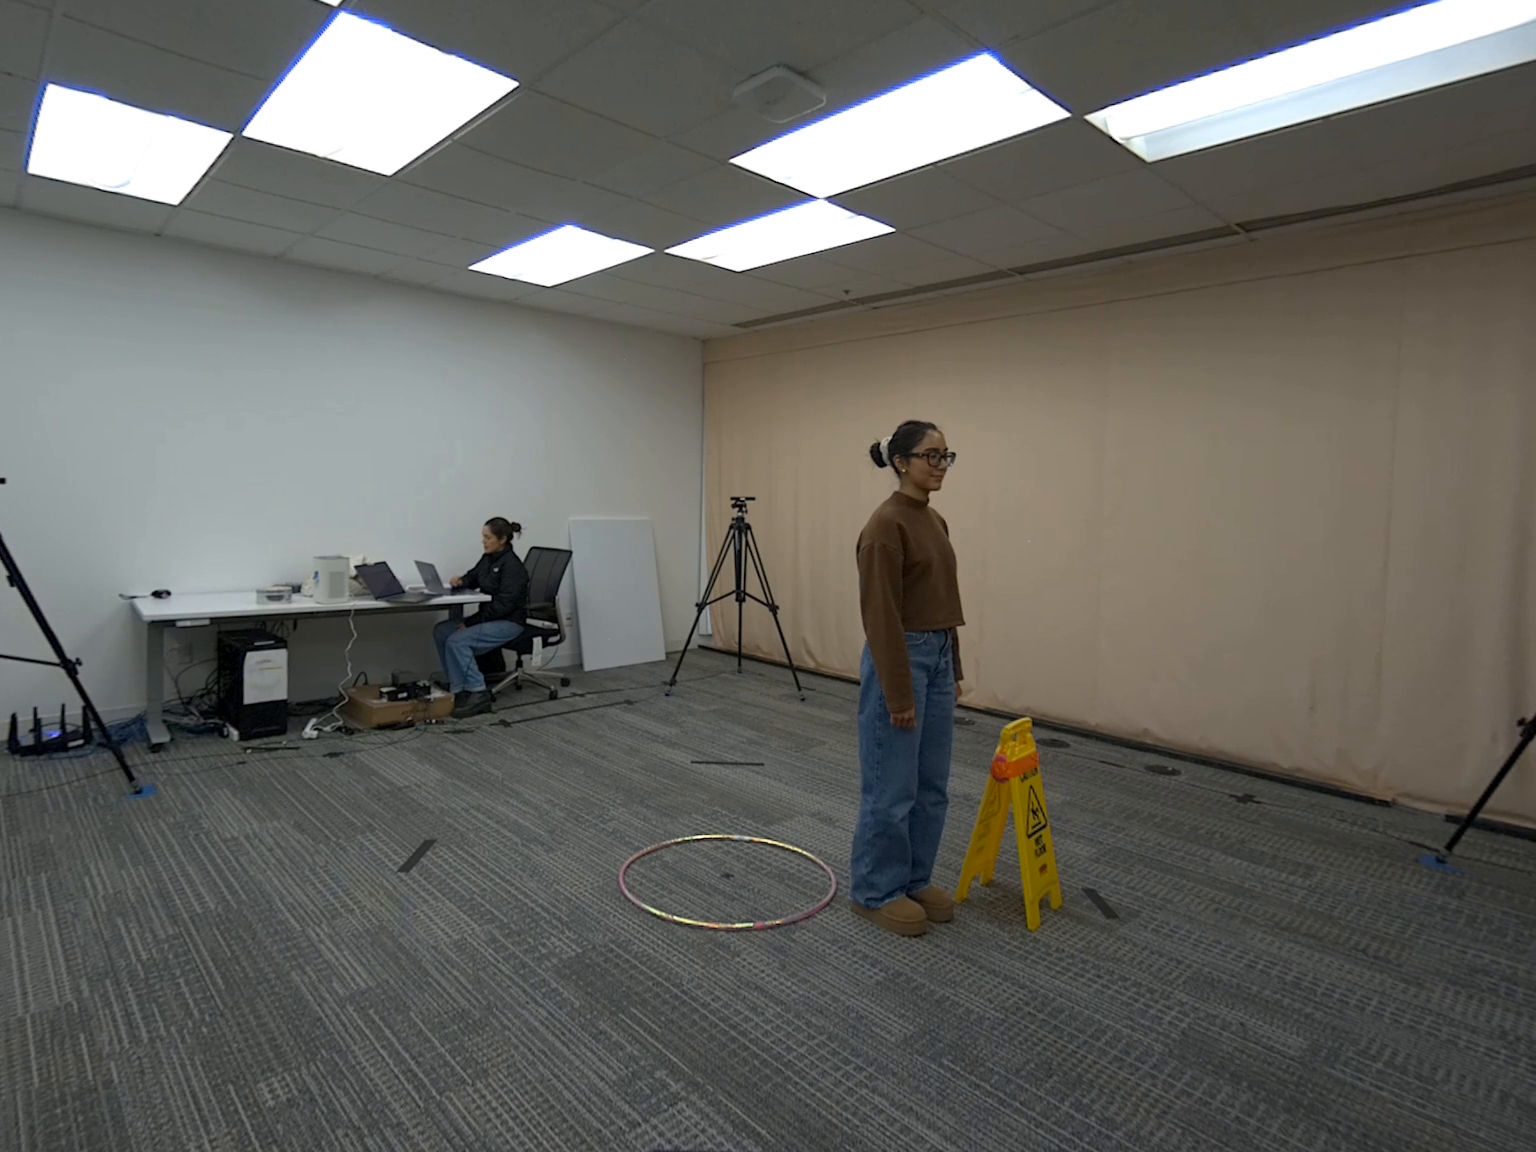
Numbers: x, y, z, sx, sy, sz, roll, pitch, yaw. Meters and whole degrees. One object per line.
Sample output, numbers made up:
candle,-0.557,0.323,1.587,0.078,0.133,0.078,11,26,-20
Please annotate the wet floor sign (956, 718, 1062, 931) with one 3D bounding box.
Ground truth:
wet floor sign,0.850,0.826,2.930,0.297,0.644,0.276,4,5,40
